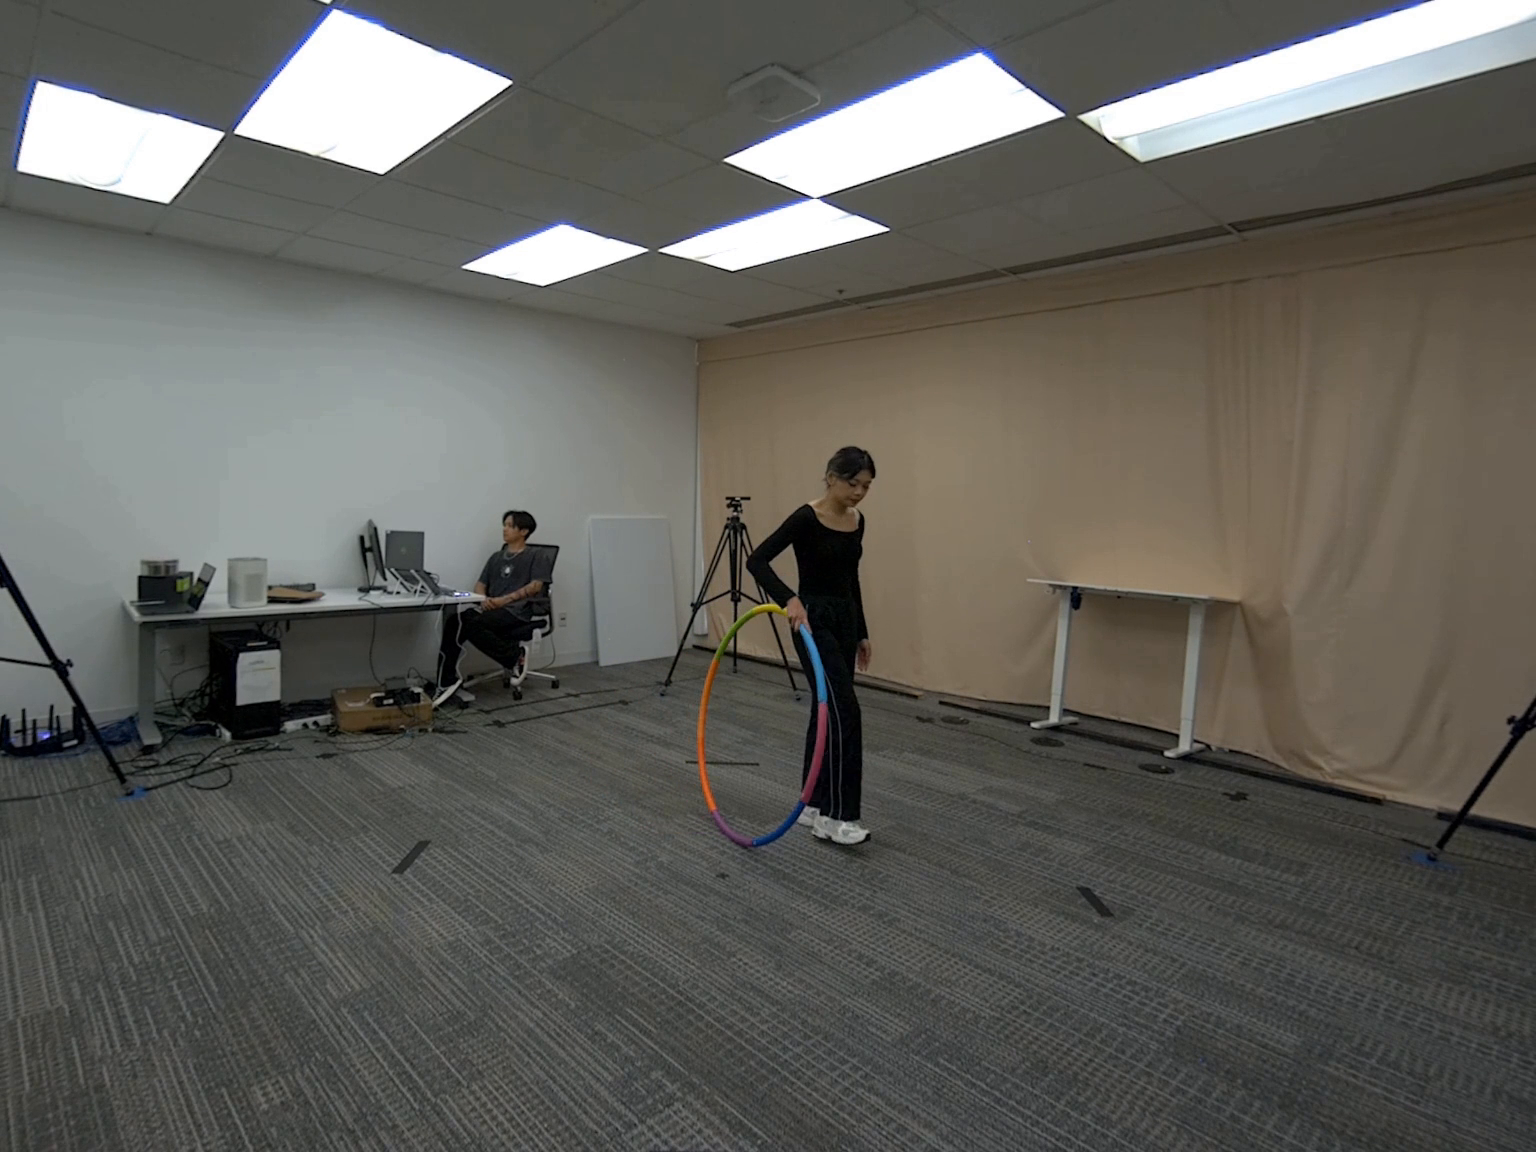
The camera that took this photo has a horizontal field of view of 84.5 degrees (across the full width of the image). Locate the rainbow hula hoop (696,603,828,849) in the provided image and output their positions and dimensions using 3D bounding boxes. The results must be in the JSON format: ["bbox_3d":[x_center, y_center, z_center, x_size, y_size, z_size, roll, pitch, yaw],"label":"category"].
[{"bbox_3d":[-0.059,0.600,3.450,0.035,0.979,1.000,12,-1,-29],"label":"rainbow hula hoop"}]
